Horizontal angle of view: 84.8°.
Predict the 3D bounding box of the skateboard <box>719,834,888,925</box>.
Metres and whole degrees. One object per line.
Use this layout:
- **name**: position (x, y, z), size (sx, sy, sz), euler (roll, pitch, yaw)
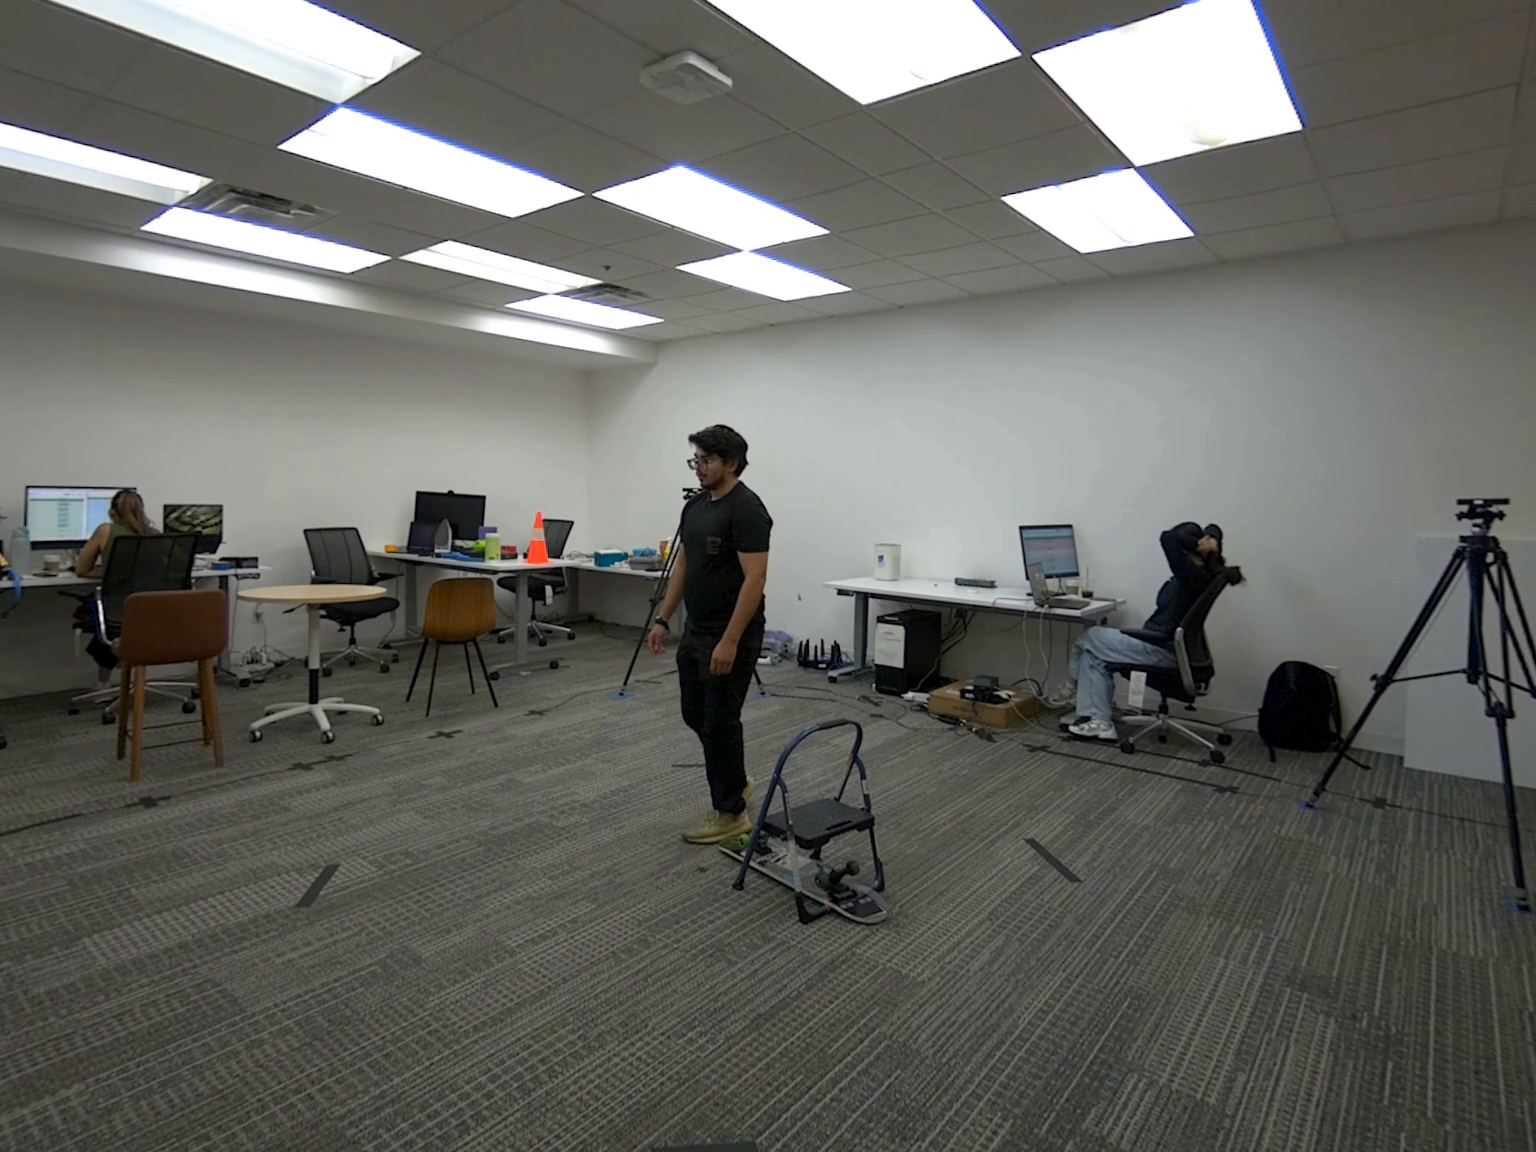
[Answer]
- **skateboard**: position (0.102, 1.033, 3.062), size (0.188, 0.110, 0.812), euler (-6, 8, -42)
